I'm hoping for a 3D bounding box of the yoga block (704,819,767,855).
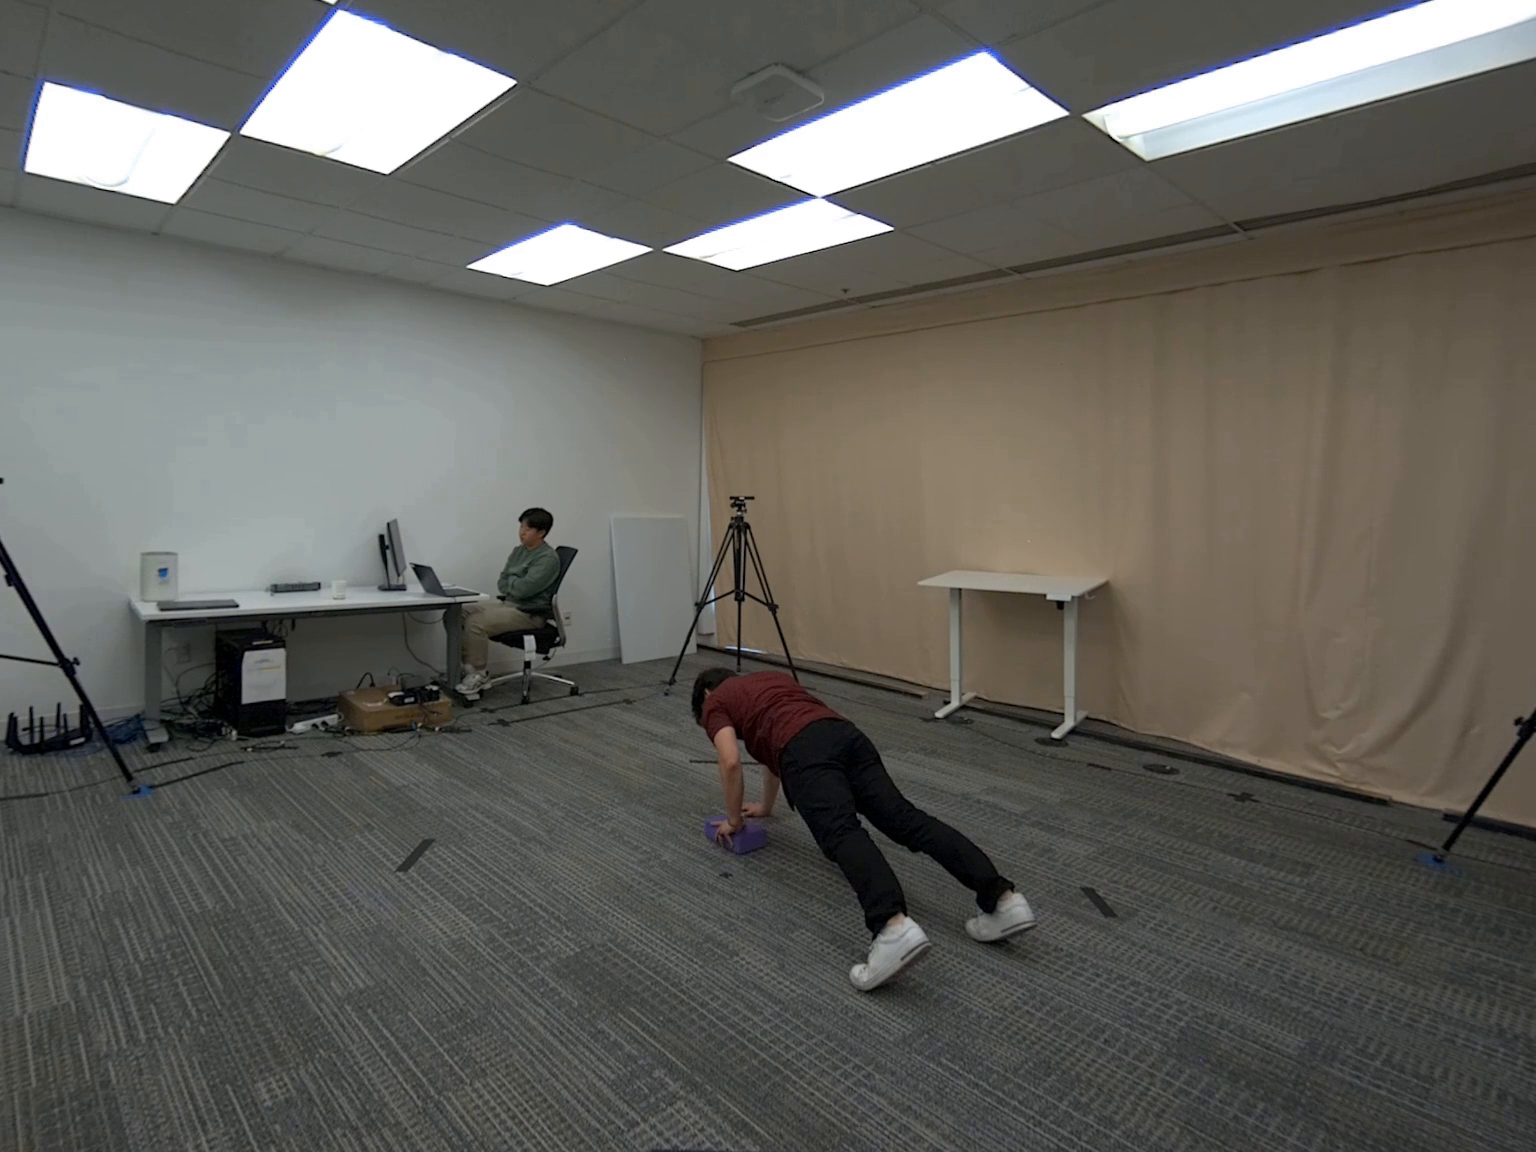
[{"bbox_3d":[-0.132,1.037,3.405,0.146,0.076,0.235,-4,8,-40],"label":"yoga block"}]
